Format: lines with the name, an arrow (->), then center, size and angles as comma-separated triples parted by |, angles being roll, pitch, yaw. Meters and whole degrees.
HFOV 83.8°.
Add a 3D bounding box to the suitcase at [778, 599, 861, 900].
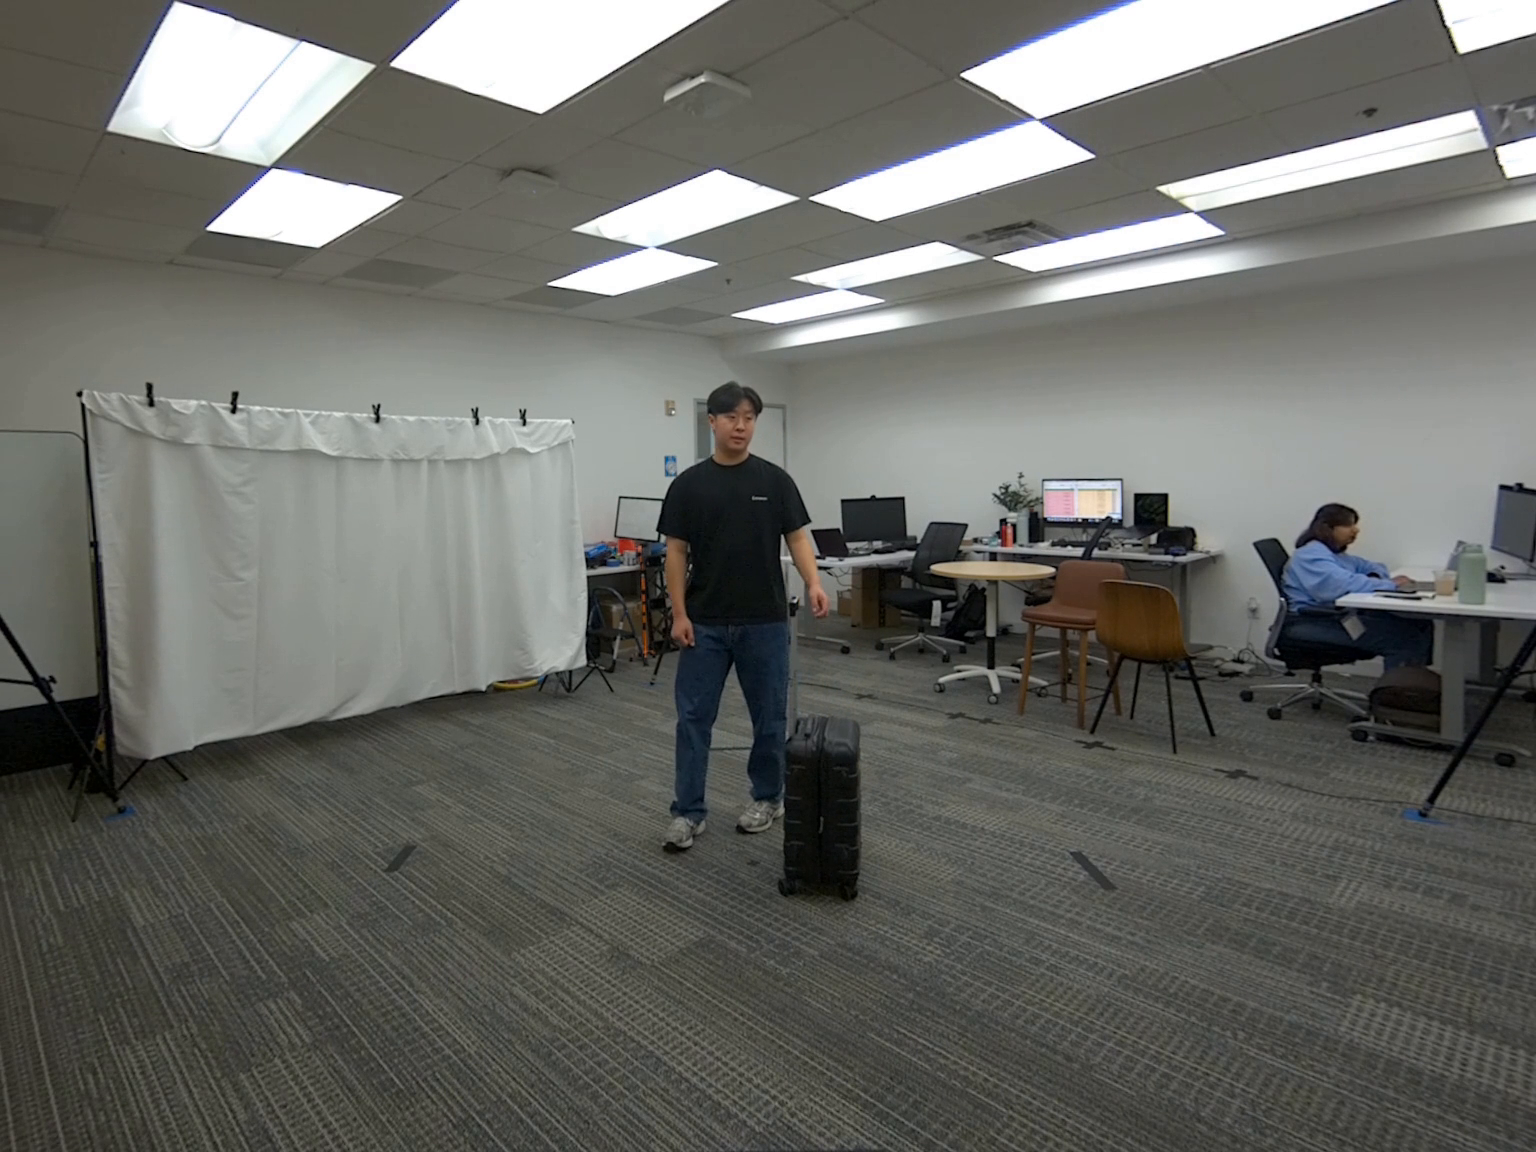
suitcase -> 0.205, 0.578, 2.938 | 0.259, 0.974, 0.382 | 1, 6, 8
